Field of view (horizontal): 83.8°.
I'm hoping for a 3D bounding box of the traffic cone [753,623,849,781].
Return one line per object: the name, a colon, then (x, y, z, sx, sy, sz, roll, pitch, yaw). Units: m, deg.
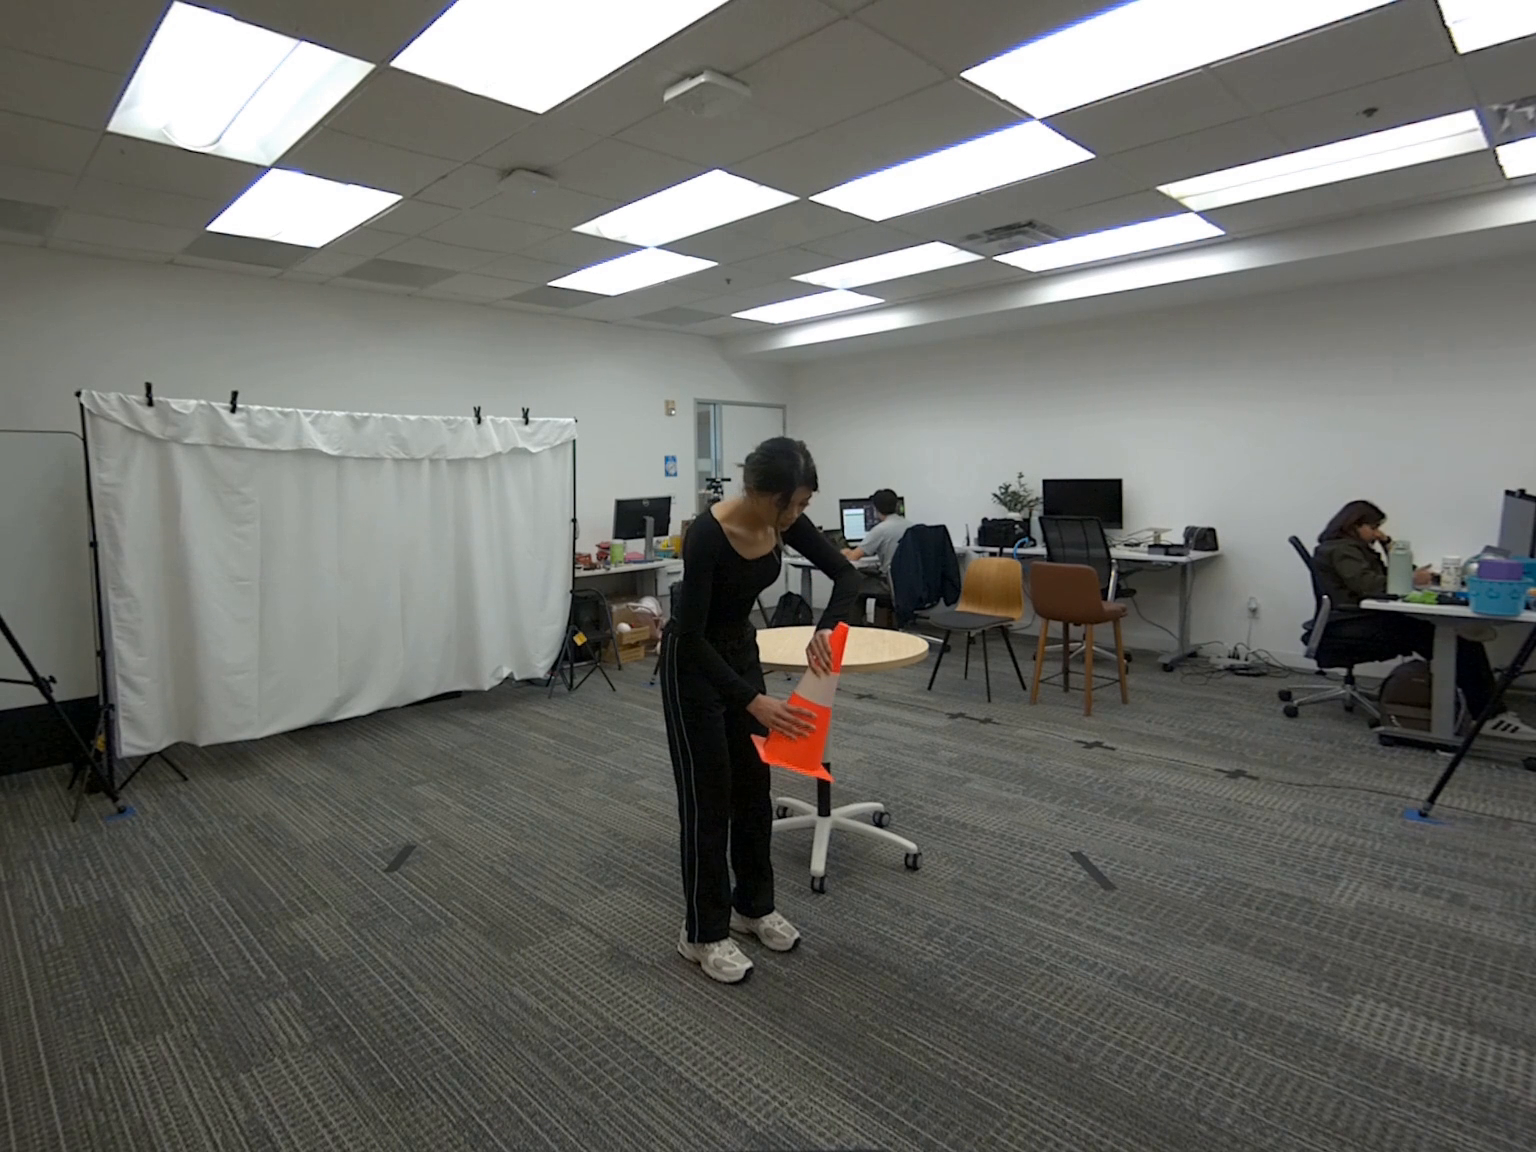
traffic cone: (0.132, 0.307, 2.231, 0.200, 0.384, 0.208, 14, 0, -14)
